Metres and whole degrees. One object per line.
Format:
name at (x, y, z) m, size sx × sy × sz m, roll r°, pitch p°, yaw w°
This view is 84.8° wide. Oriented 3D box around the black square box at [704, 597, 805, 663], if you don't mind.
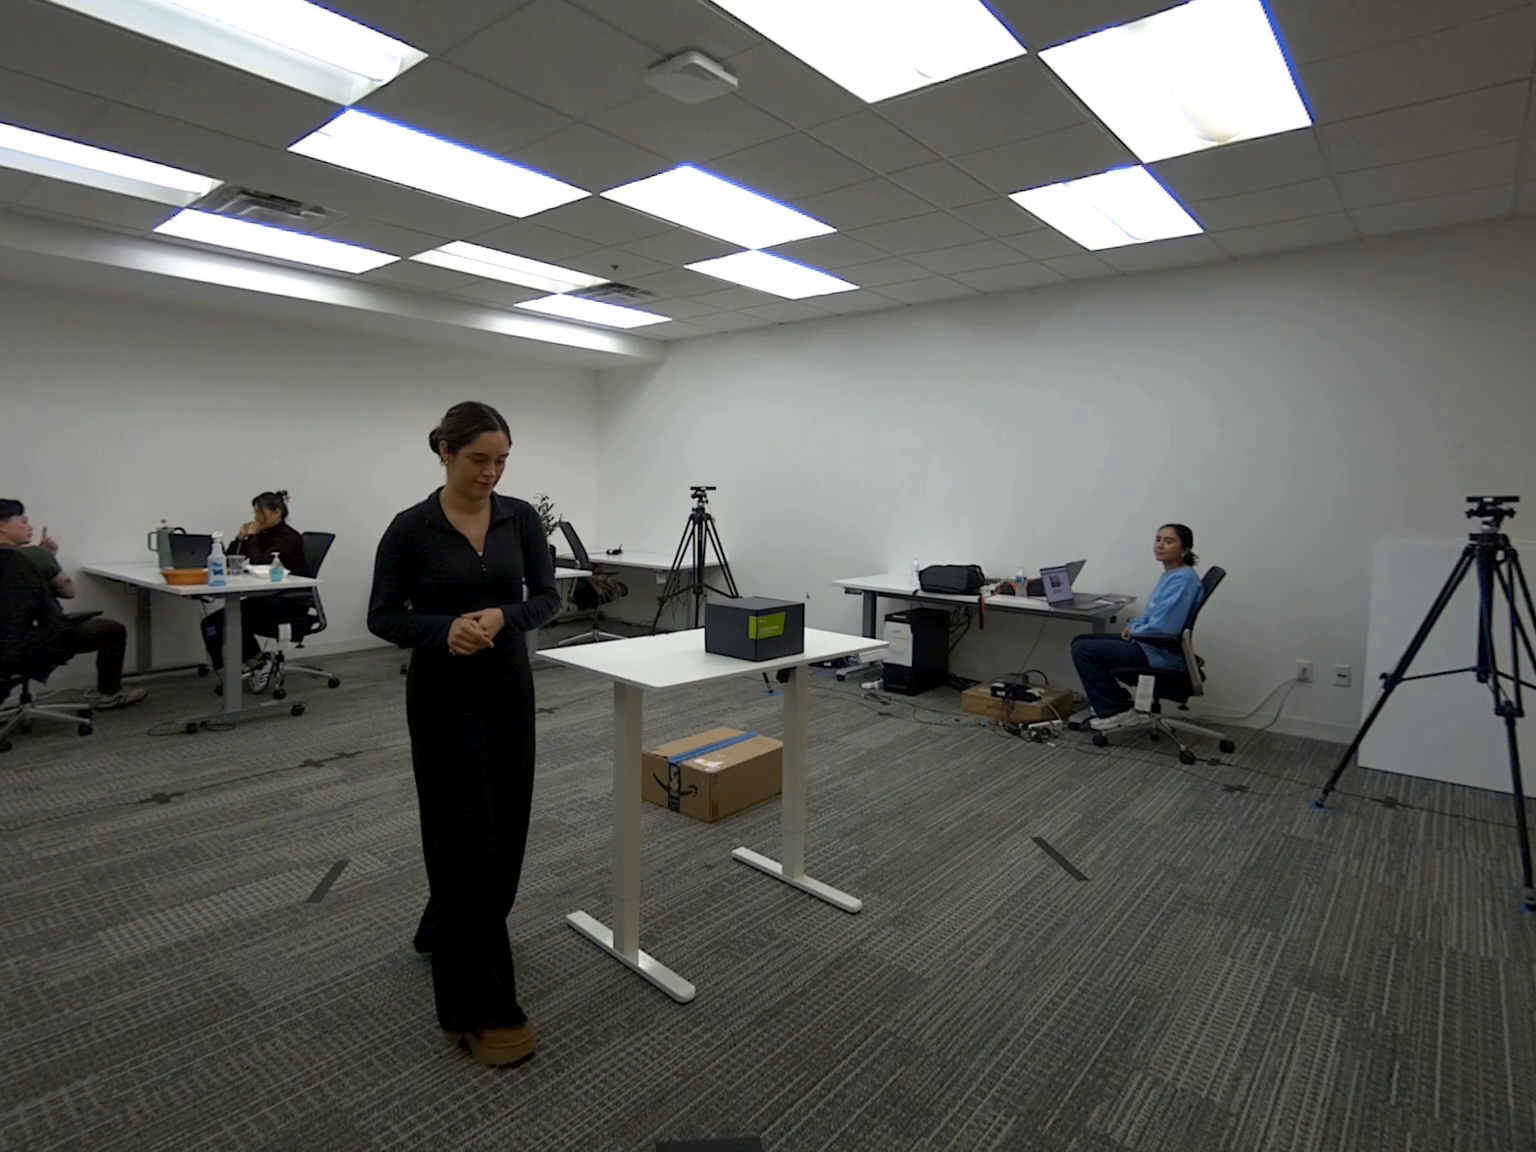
black square box at (-0.049, 0.156, 2.622) m, size 0.224 × 0.155 × 0.221 m, roll 5°, pitch 6°, yaw 42°
